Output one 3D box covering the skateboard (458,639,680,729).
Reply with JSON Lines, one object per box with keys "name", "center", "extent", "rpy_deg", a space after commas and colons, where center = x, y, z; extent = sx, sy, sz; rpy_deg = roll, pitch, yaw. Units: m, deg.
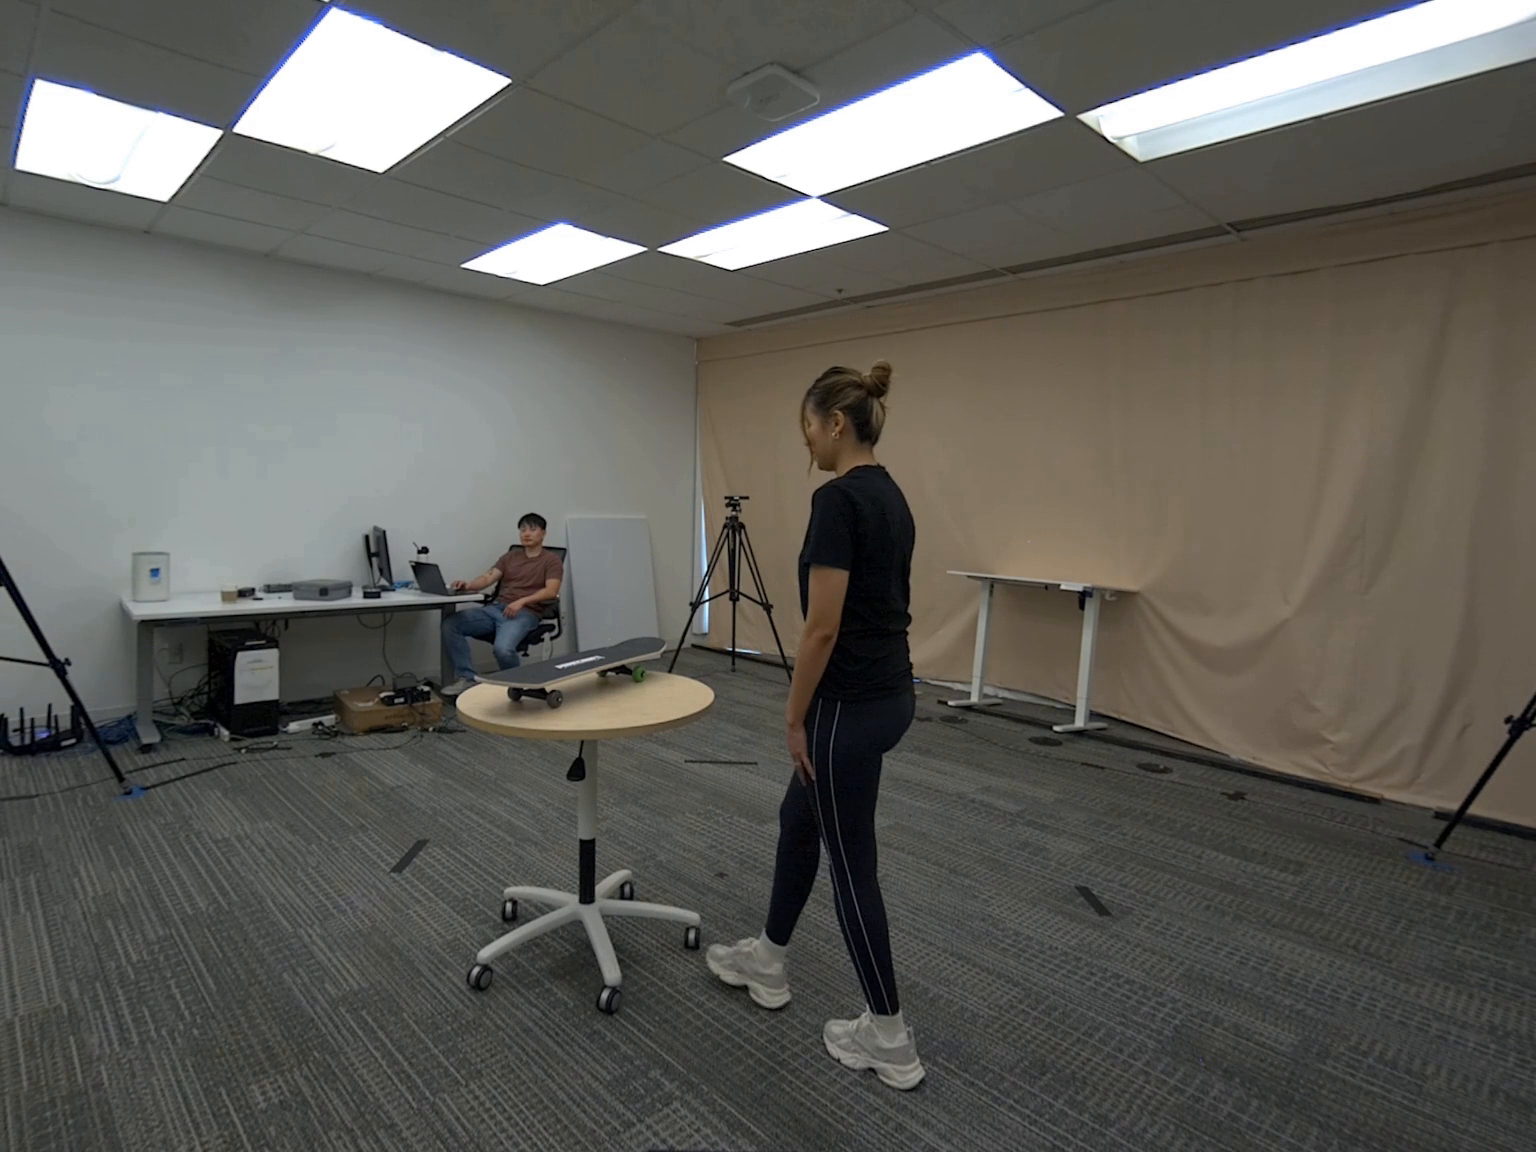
{"name": "skateboard", "center": [-0.573, 0.309, 2.588], "extent": [0.197, 0.110, 0.771], "rpy_deg": [4, 6, 29]}
